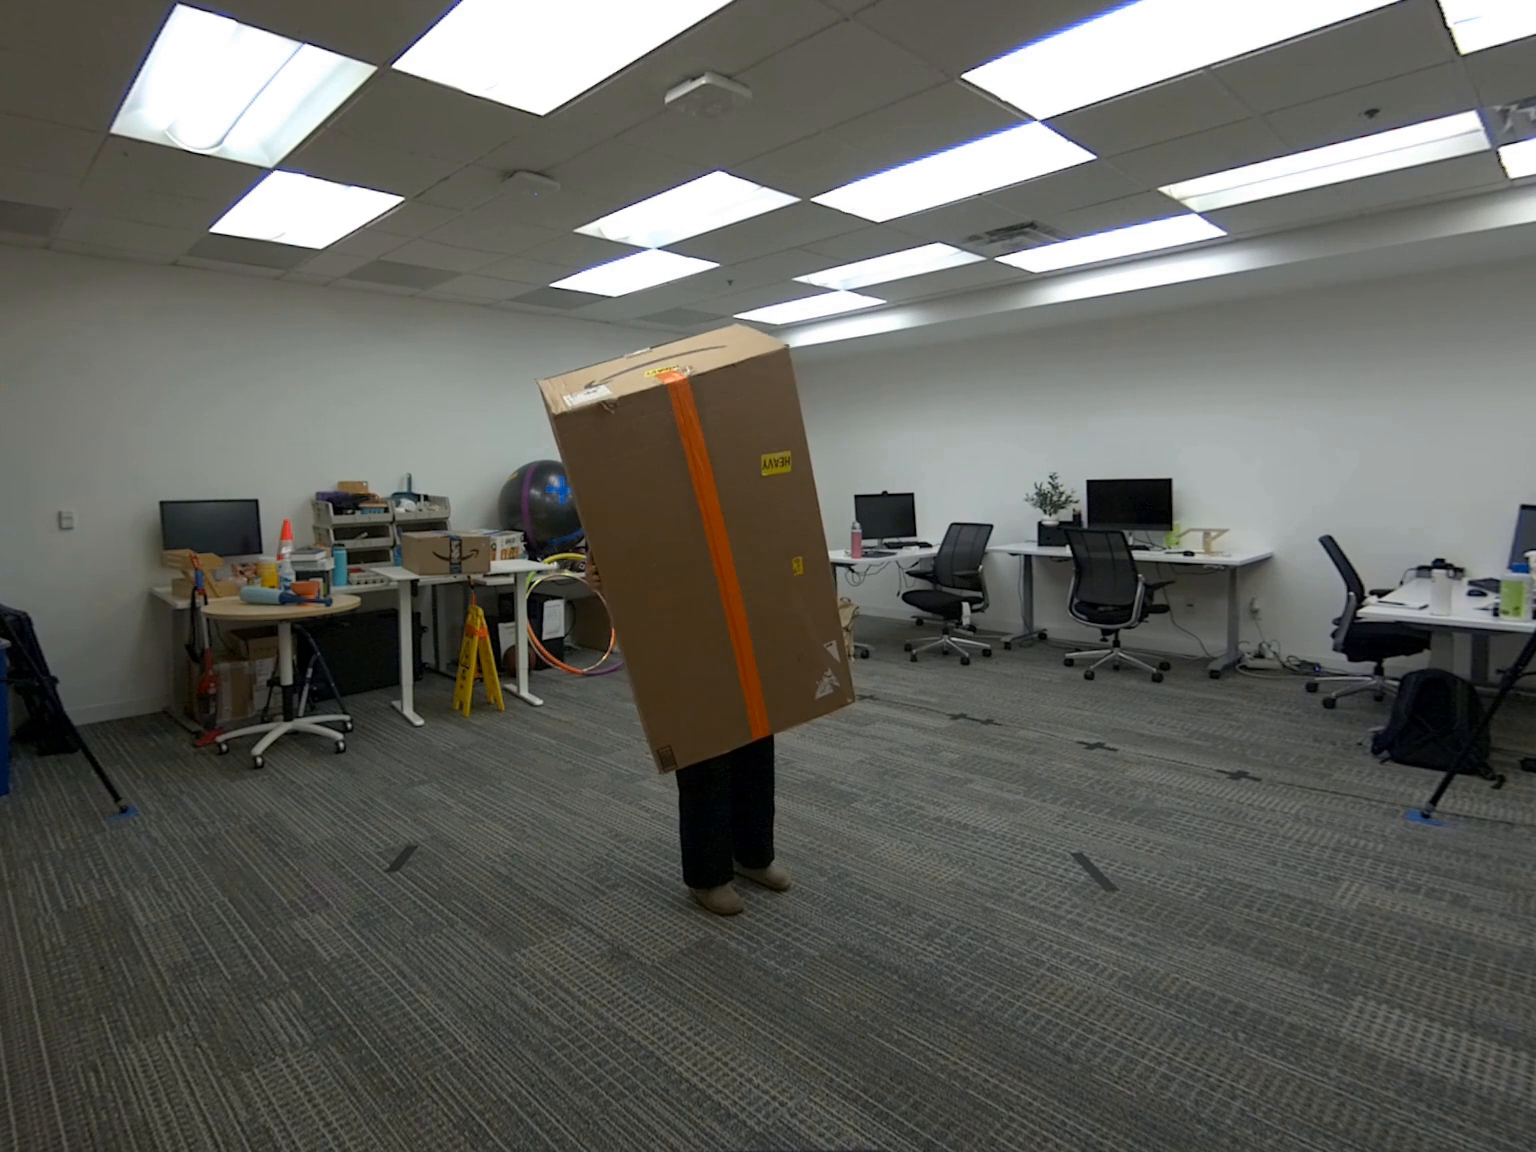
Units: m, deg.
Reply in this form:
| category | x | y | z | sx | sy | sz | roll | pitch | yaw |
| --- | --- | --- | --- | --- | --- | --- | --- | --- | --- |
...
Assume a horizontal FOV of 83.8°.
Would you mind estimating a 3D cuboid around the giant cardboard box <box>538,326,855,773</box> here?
| category | x | y | z | sx | sy | sz | roll | pitch | yaw |
| --- | --- | --- | --- | --- | --- | --- | --- | --- | --- |
| giant cardboard box | -0.180 | -0.080 | 2.309 | 0.573 | 1.001 | 0.440 | -18 | 25 | -11 |
